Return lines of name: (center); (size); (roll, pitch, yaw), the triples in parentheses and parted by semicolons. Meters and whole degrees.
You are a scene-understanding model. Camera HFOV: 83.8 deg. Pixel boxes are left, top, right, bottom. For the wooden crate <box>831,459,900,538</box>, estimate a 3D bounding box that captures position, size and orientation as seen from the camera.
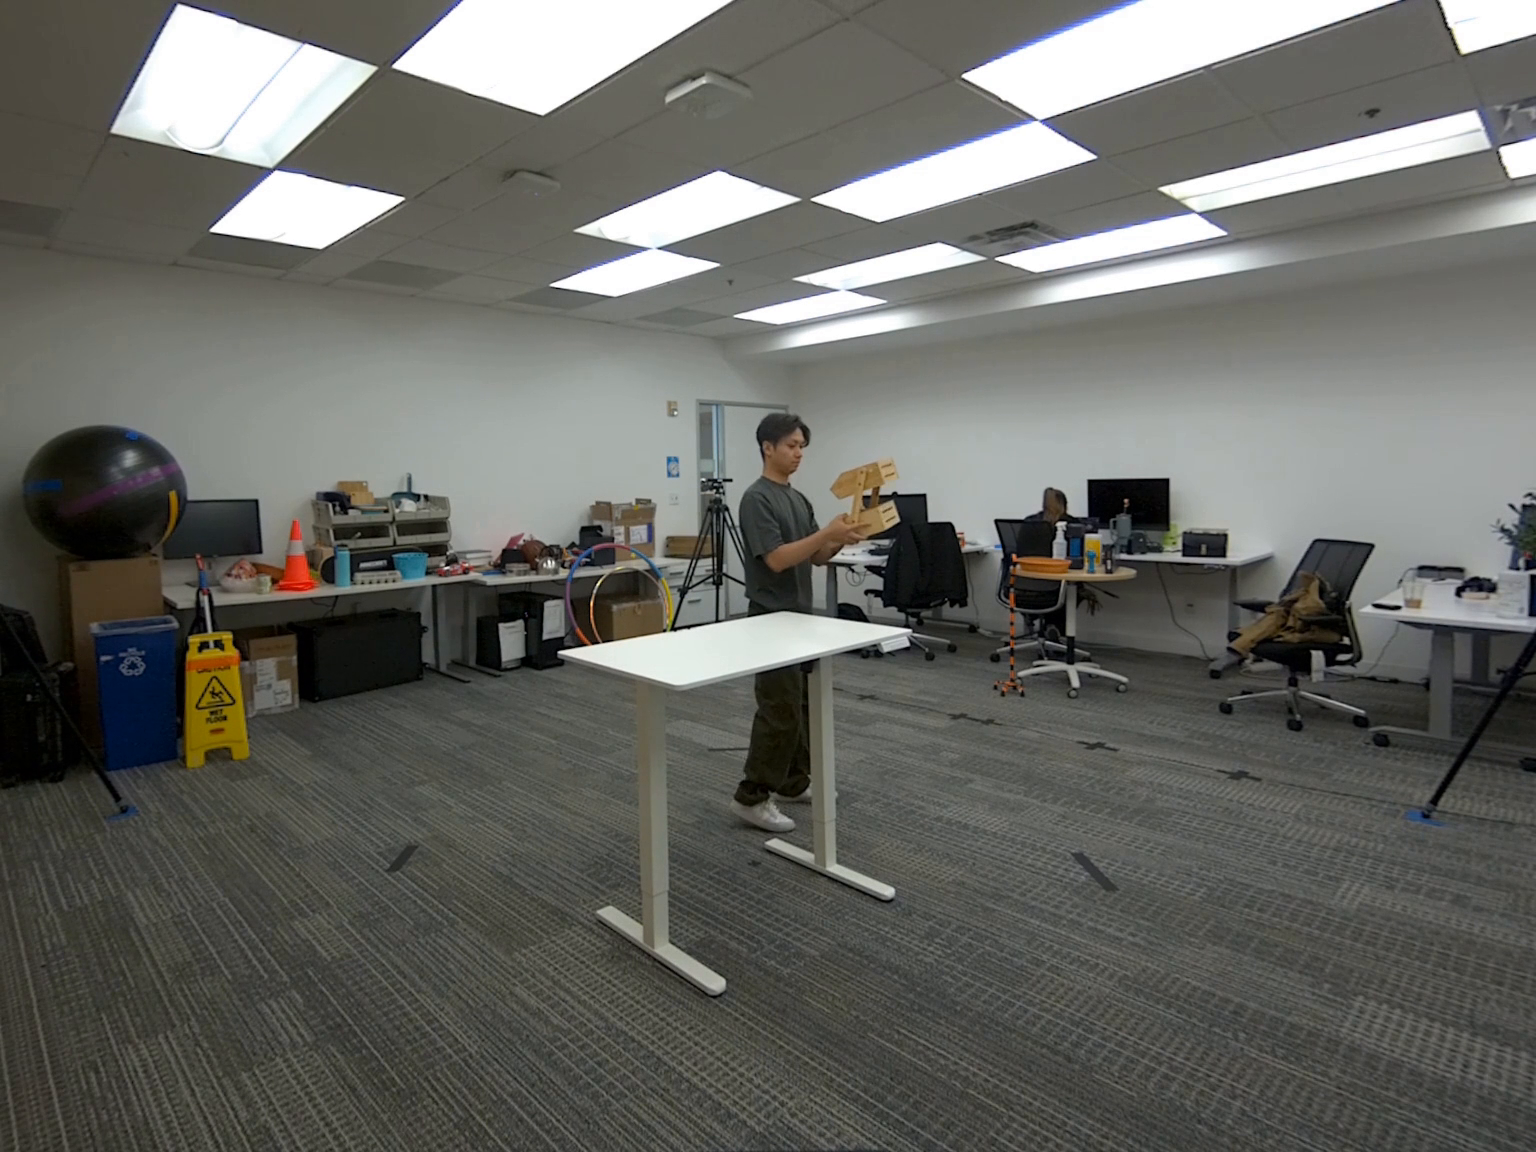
wooden crate: (0.362, -0.302, 3.422); (0.306, 0.273, 0.320); (-18, 2, 23)
